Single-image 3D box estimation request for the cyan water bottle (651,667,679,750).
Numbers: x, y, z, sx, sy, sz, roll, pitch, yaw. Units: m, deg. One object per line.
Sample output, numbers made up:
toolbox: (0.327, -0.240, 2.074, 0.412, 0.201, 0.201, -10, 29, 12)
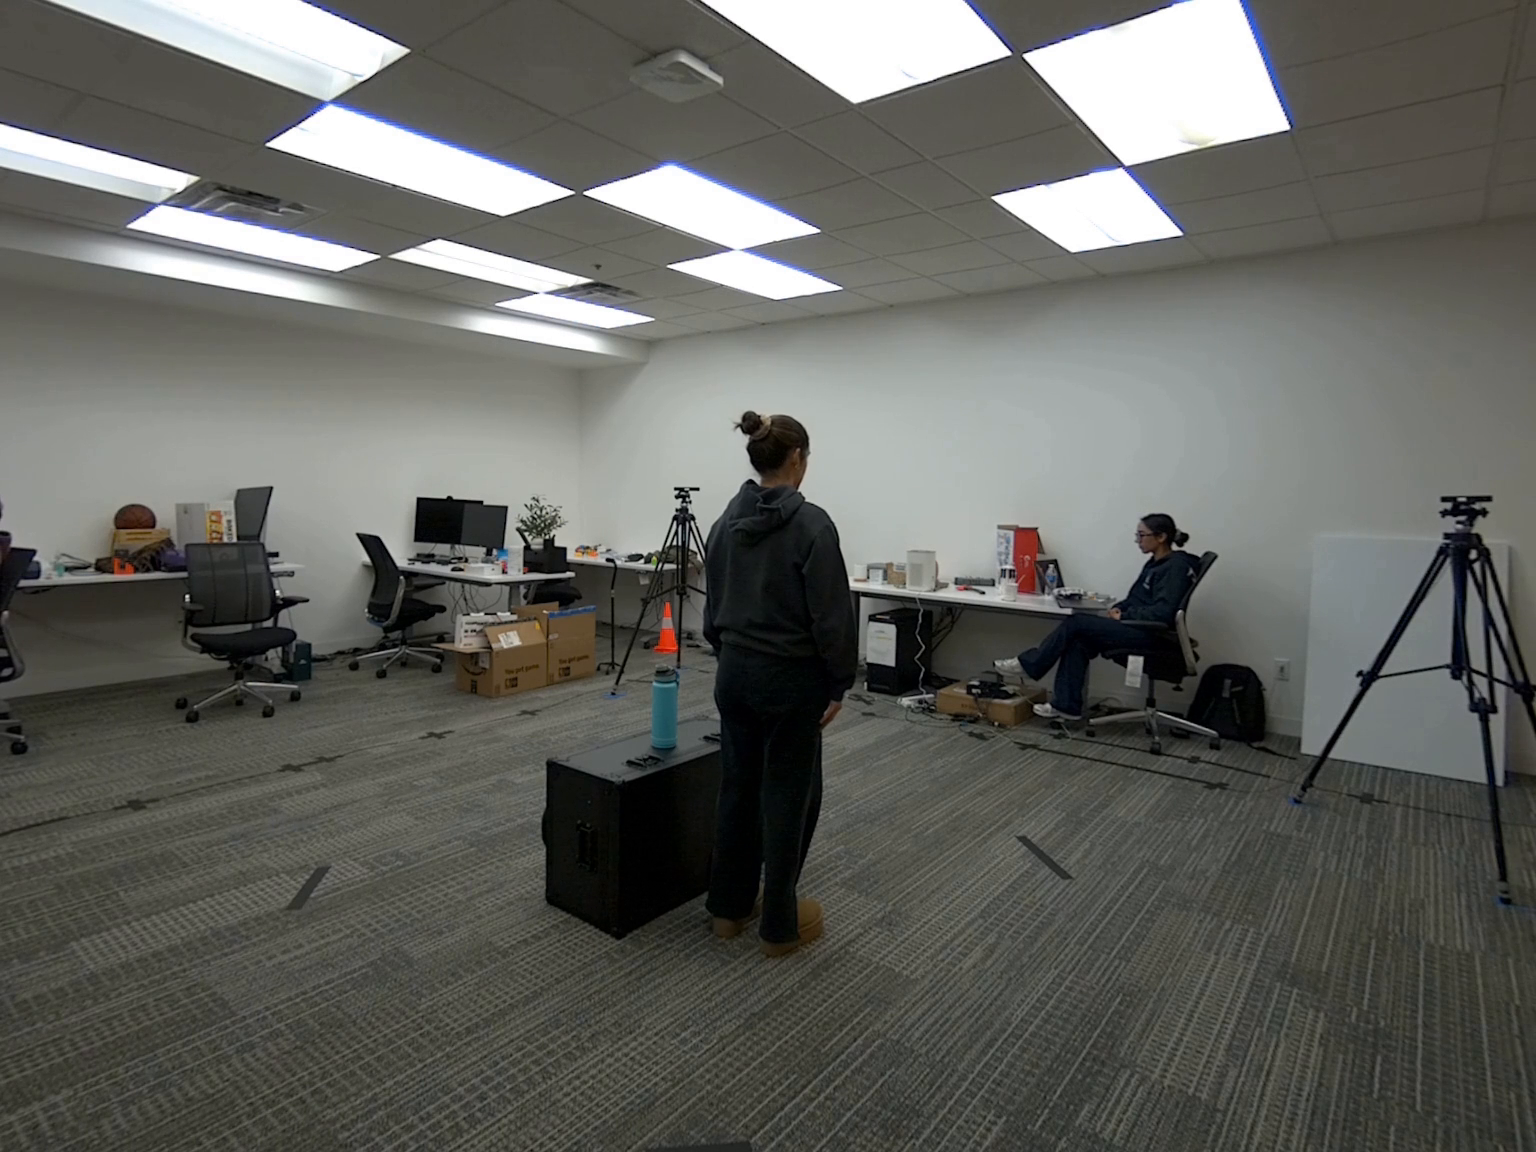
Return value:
cyan water bottle: (-0.366, 0.451, 2.996, 0.092, 0.283, 0.093, 2, 3, -2)
